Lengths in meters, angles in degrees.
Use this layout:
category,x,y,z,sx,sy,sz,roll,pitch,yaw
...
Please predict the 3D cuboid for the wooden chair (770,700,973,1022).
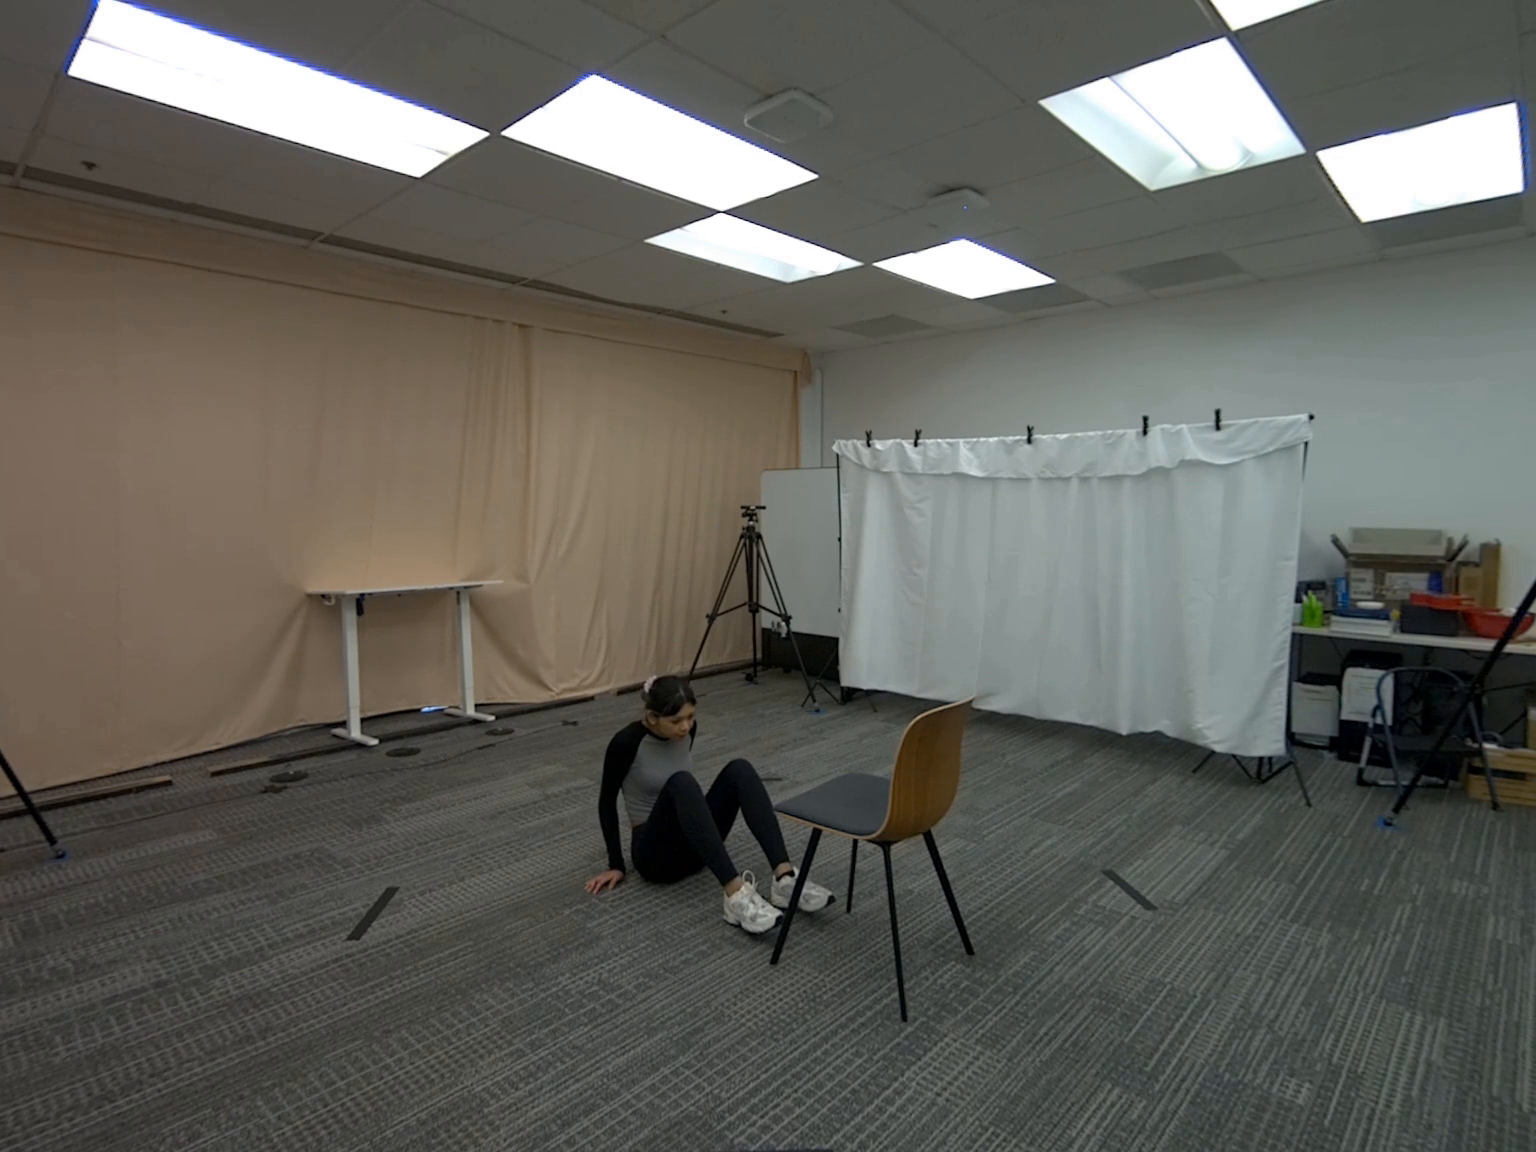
category,x,y,z,sx,sy,sz,roll,pitch,yaw
wooden chair,0.321,0.749,2.558,0.541,0.874,0.464,8,8,38
